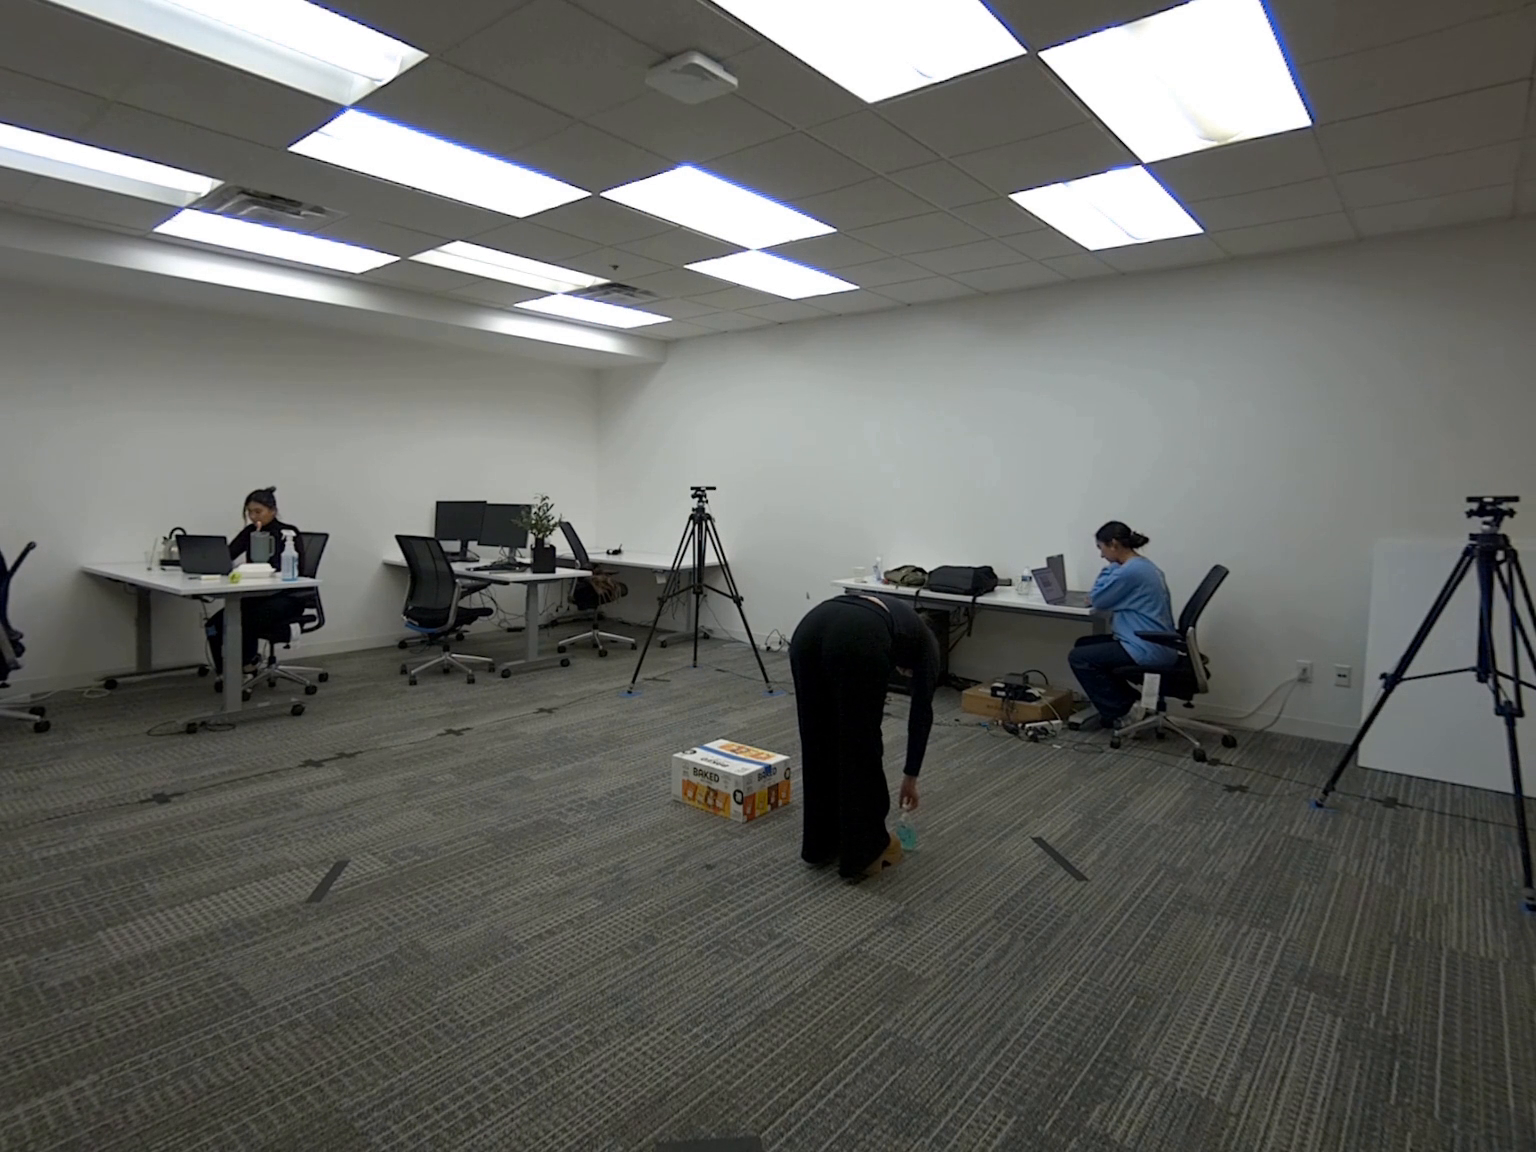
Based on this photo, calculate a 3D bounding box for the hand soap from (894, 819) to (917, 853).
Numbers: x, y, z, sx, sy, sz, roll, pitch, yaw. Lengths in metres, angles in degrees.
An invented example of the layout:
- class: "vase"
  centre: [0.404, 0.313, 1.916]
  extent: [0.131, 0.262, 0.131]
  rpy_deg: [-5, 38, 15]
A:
- class: "hand soap"
  centre: [0.528, 0.980, 3.308]
  extent: [0.087, 0.168, 0.042]
  rpy_deg: [-1, 3, 29]
